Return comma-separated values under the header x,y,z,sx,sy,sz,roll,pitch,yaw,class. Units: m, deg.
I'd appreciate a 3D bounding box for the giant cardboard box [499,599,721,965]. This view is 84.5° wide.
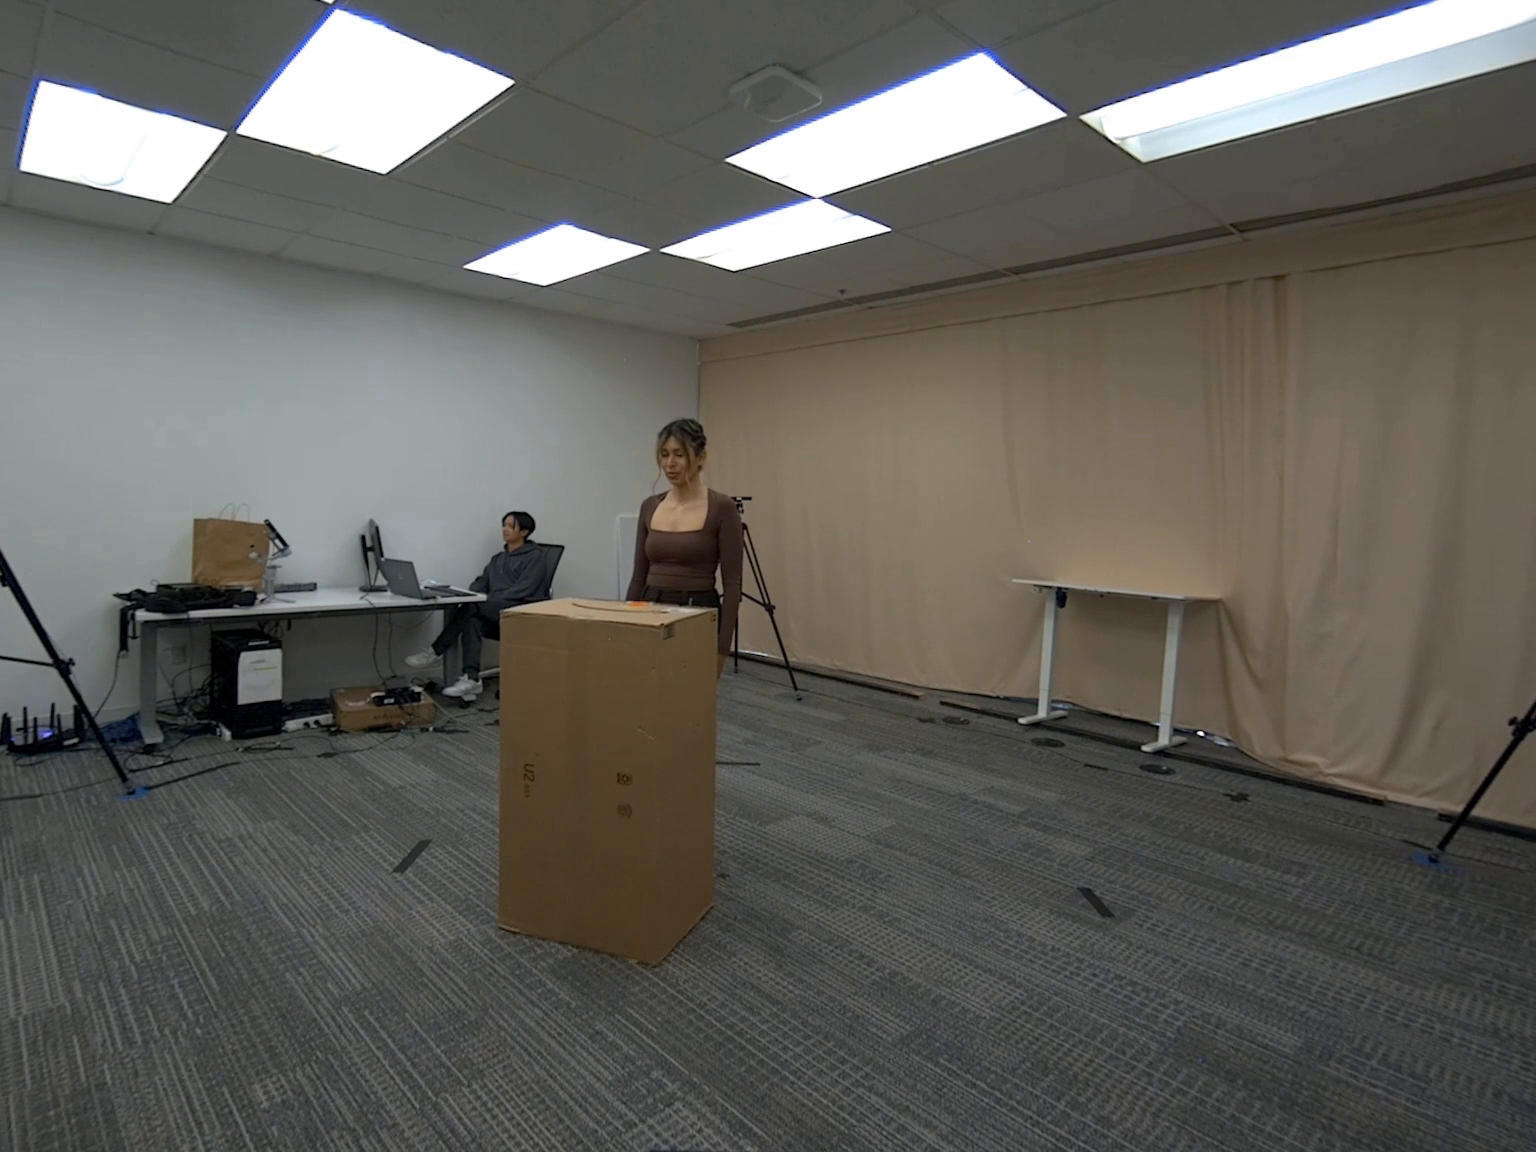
x,y,z,sx,sy,sz,roll,pitch,yaw,class
-0.517,0.619,2.761,0.594,1.025,0.440,2,3,22,giant cardboard box
